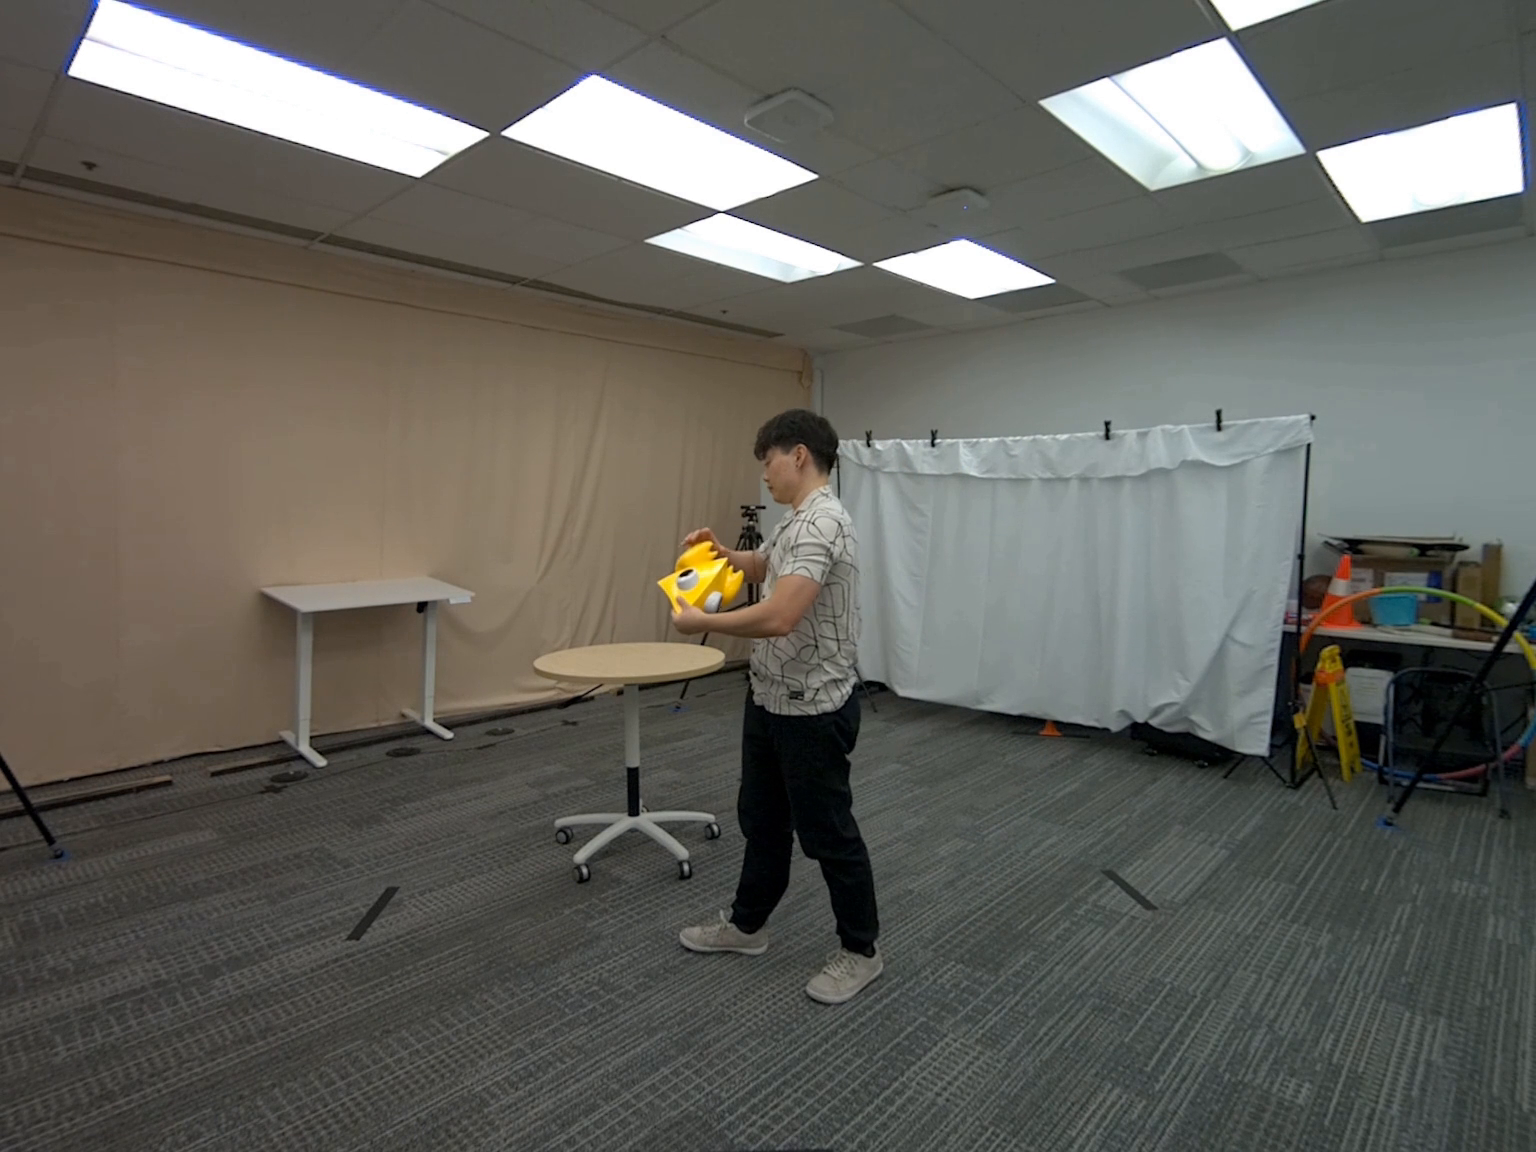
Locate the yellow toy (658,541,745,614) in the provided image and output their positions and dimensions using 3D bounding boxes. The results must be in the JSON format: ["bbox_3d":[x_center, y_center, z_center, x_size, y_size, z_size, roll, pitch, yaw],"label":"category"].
[{"bbox_3d":[-0.191,0.037,2.427,0.203,0.194,0.231,43,18,-7],"label":"yellow toy"}]
